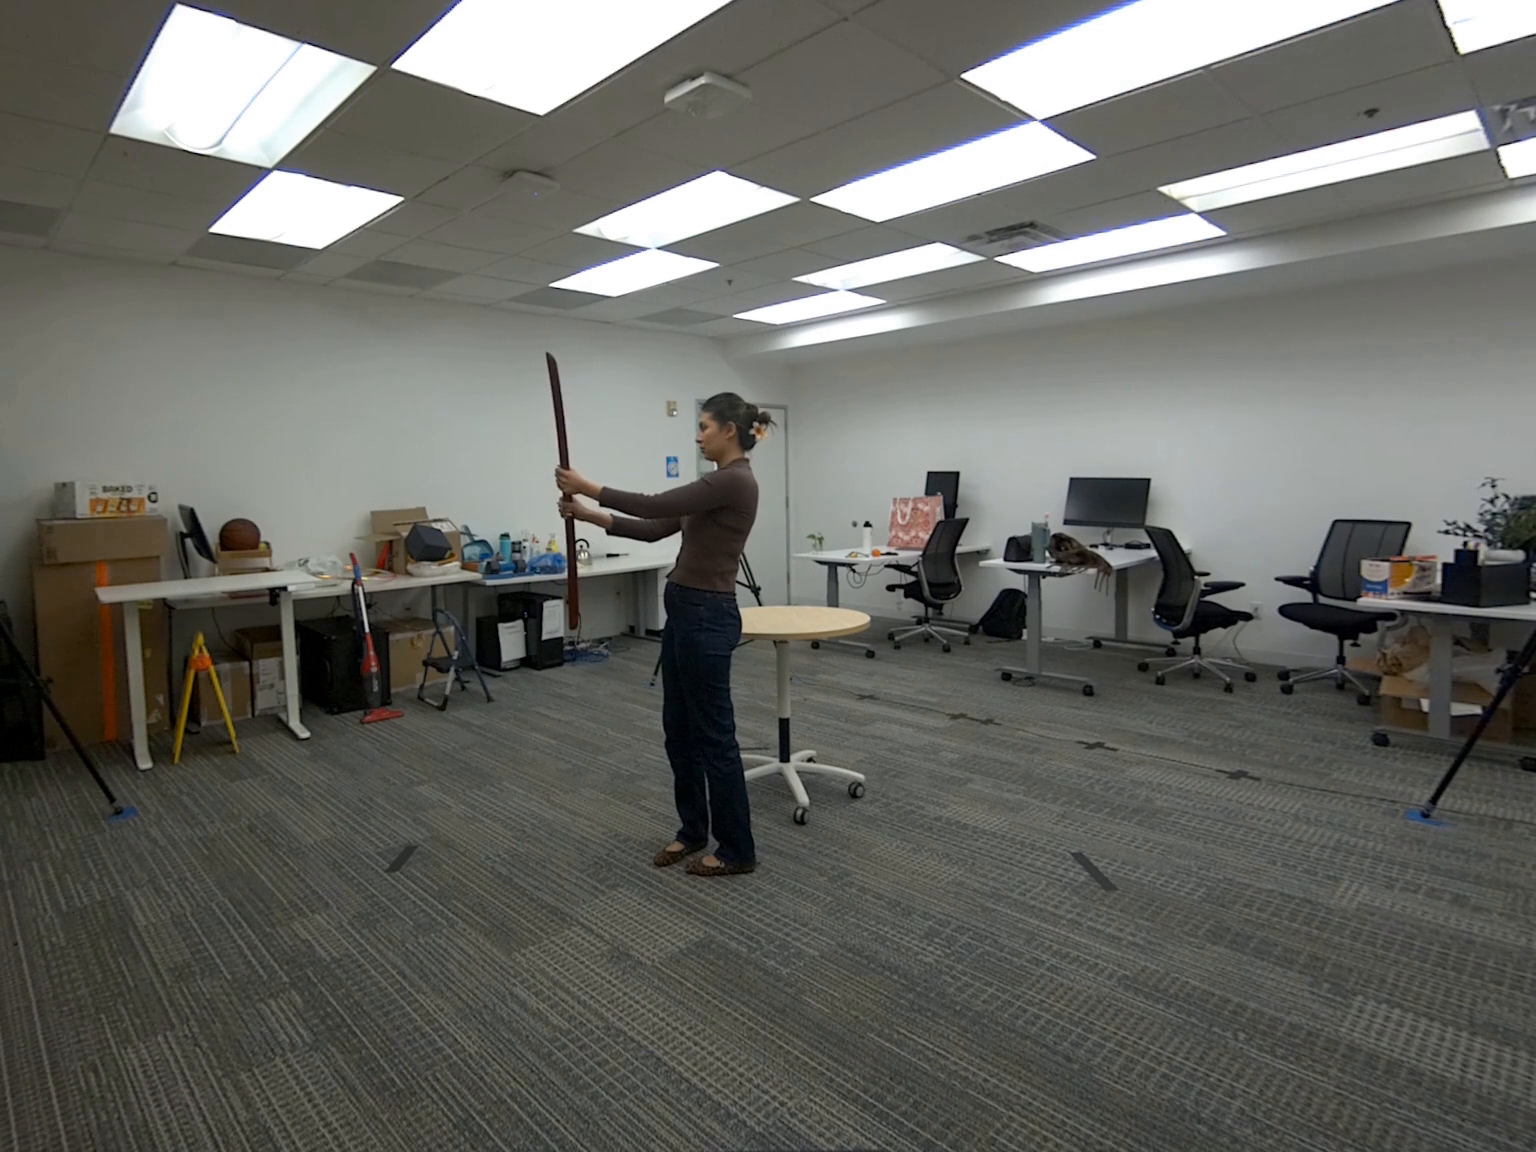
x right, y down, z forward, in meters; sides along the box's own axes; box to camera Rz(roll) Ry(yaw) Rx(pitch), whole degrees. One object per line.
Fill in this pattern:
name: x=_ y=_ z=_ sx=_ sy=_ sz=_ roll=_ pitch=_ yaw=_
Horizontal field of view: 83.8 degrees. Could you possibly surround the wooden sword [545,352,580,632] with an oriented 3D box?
wooden sword: x=-0.711 y=-0.269 z=2.982 sx=0.050 sy=1.005 sz=0.025 roll=-16 pitch=26 yaw=-32
